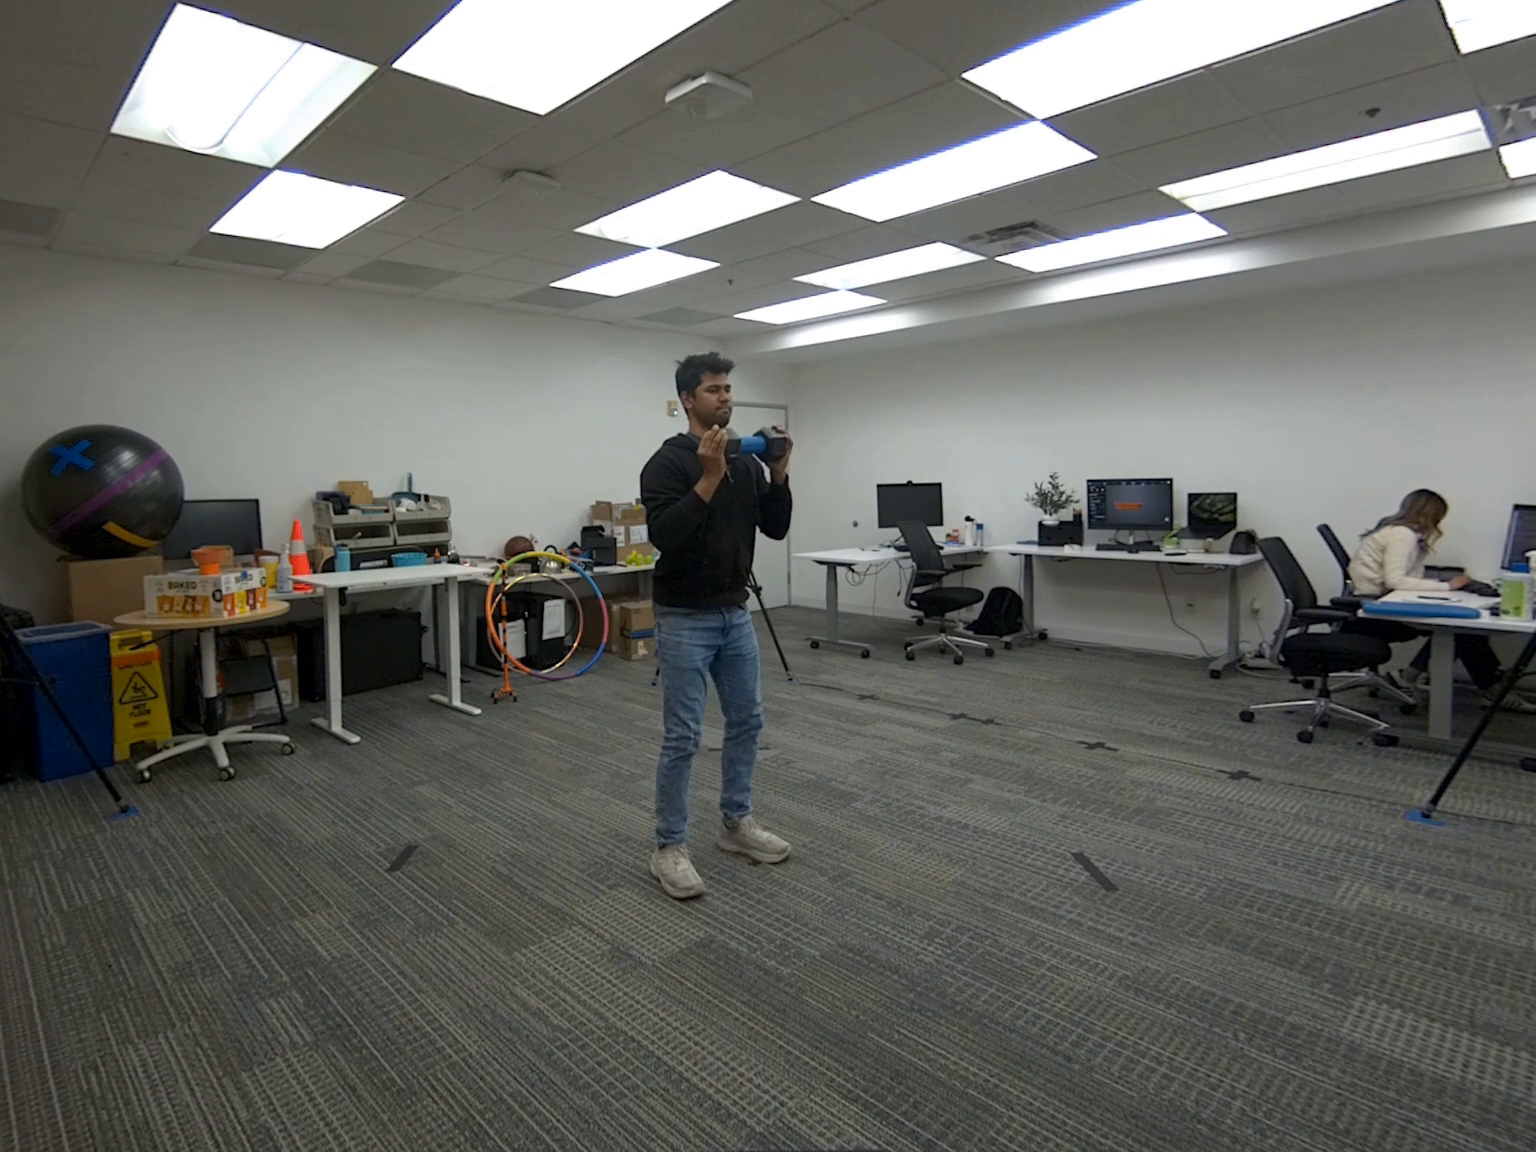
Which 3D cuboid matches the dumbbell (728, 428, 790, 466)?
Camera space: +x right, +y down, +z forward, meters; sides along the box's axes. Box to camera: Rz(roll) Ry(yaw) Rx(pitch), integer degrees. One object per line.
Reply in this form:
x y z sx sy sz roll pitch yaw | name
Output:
-0.079 -0.420 2.875 0.286 0.122 0.112 -9 15 -40 | dumbbell
